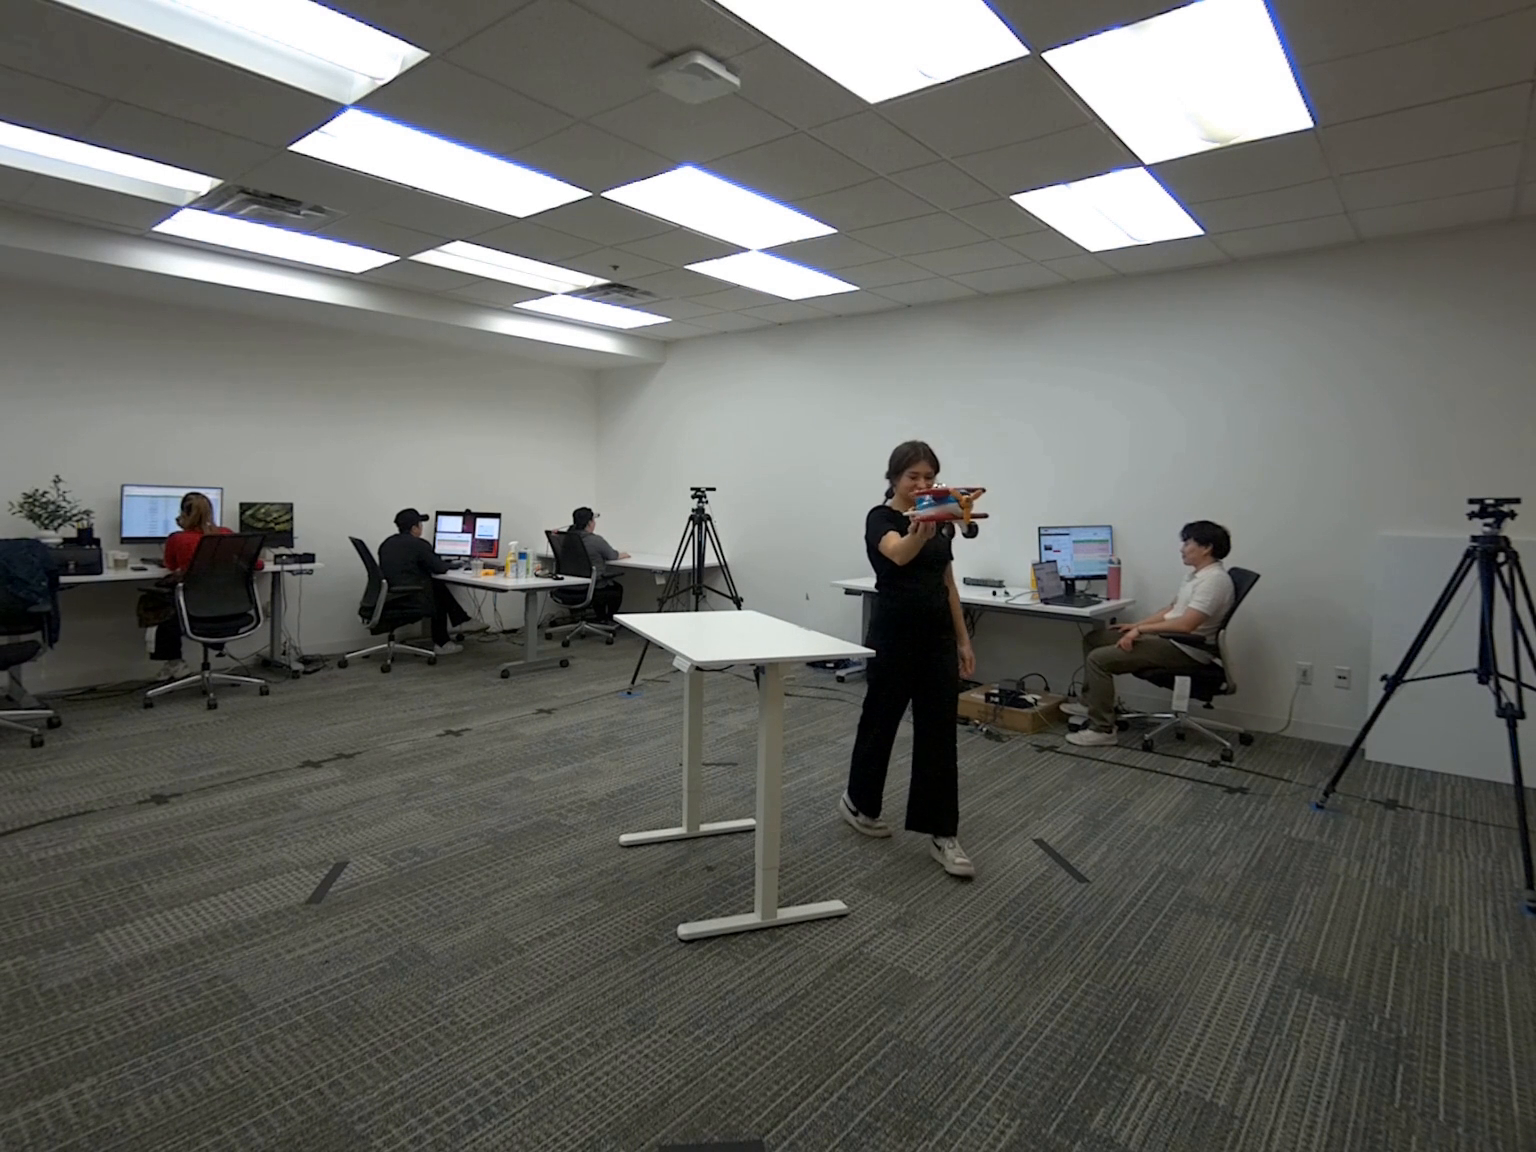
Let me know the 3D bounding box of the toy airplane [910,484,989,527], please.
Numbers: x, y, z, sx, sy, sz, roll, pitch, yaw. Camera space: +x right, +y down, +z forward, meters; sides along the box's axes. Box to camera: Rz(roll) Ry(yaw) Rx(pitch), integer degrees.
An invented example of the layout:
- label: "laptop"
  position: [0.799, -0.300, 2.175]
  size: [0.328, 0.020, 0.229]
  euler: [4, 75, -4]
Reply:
- label: "toy airplane"
  position: [0.504, -0.208, 2.629]
  size: [0.268, 0.155, 0.245]
  euler: [10, 14, 37]
